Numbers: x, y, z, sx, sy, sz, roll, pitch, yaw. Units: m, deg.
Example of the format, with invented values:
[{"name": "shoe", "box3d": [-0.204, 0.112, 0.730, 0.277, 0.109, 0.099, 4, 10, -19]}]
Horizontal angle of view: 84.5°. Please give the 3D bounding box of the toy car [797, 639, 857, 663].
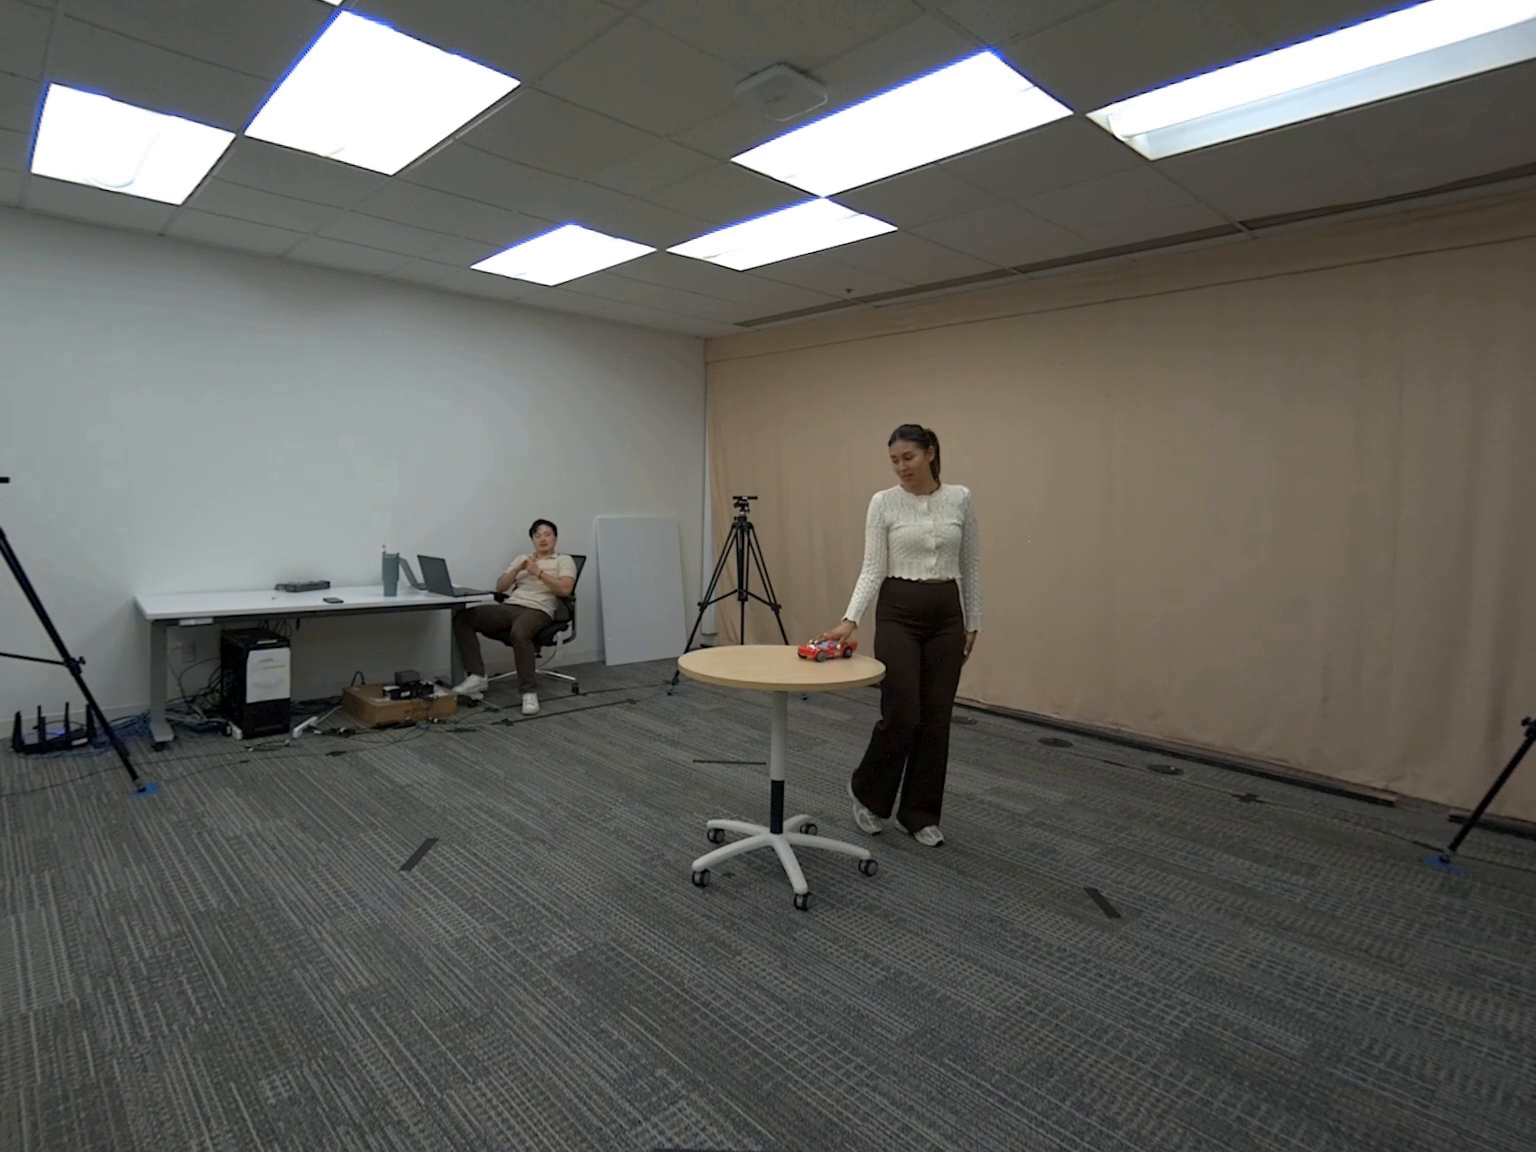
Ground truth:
[{"name": "toy car", "box3d": [0.230, 0.286, 3.237, 0.250, 0.082, 0.133, -17, 14, -38]}]
